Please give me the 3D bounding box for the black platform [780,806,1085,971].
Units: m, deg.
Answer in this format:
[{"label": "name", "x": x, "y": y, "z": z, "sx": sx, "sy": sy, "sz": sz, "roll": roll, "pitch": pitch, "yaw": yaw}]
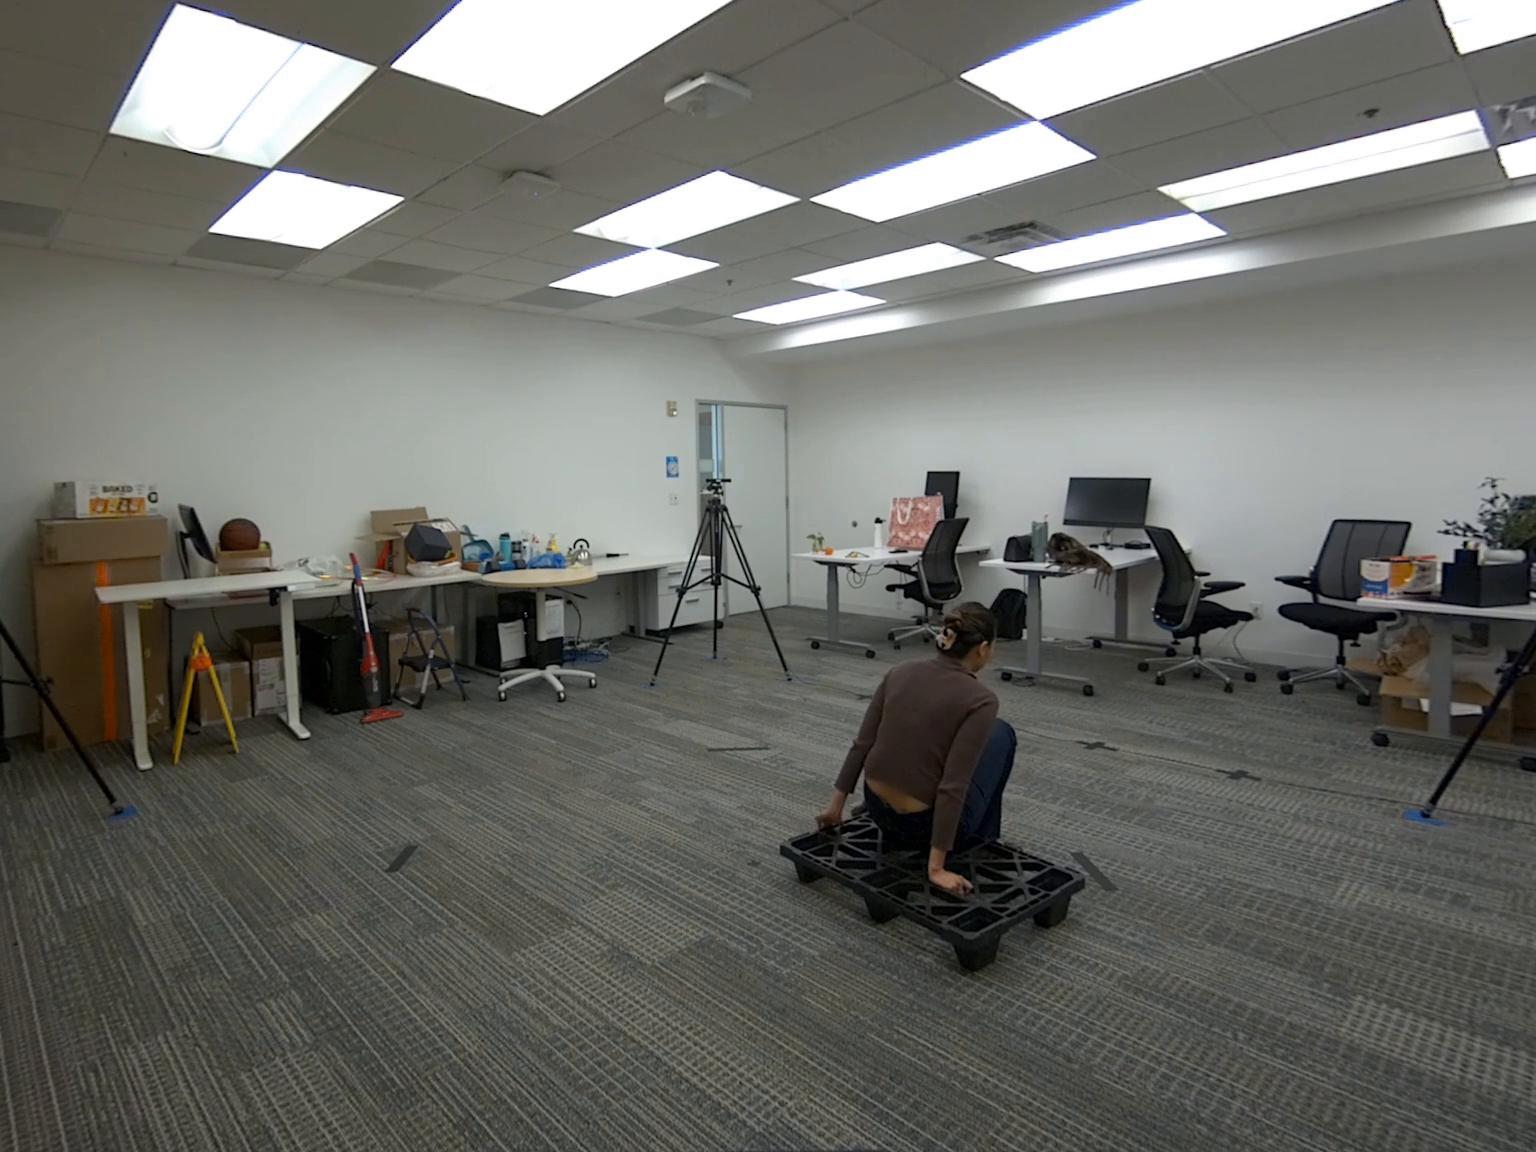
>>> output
[{"label": "black platform", "x": 0.518, "y": 1.002, "z": 2.819, "sx": 0.590, "sy": 0.142, "sz": 0.830, "roll": -7, "pitch": 8, "yaw": -38}]
